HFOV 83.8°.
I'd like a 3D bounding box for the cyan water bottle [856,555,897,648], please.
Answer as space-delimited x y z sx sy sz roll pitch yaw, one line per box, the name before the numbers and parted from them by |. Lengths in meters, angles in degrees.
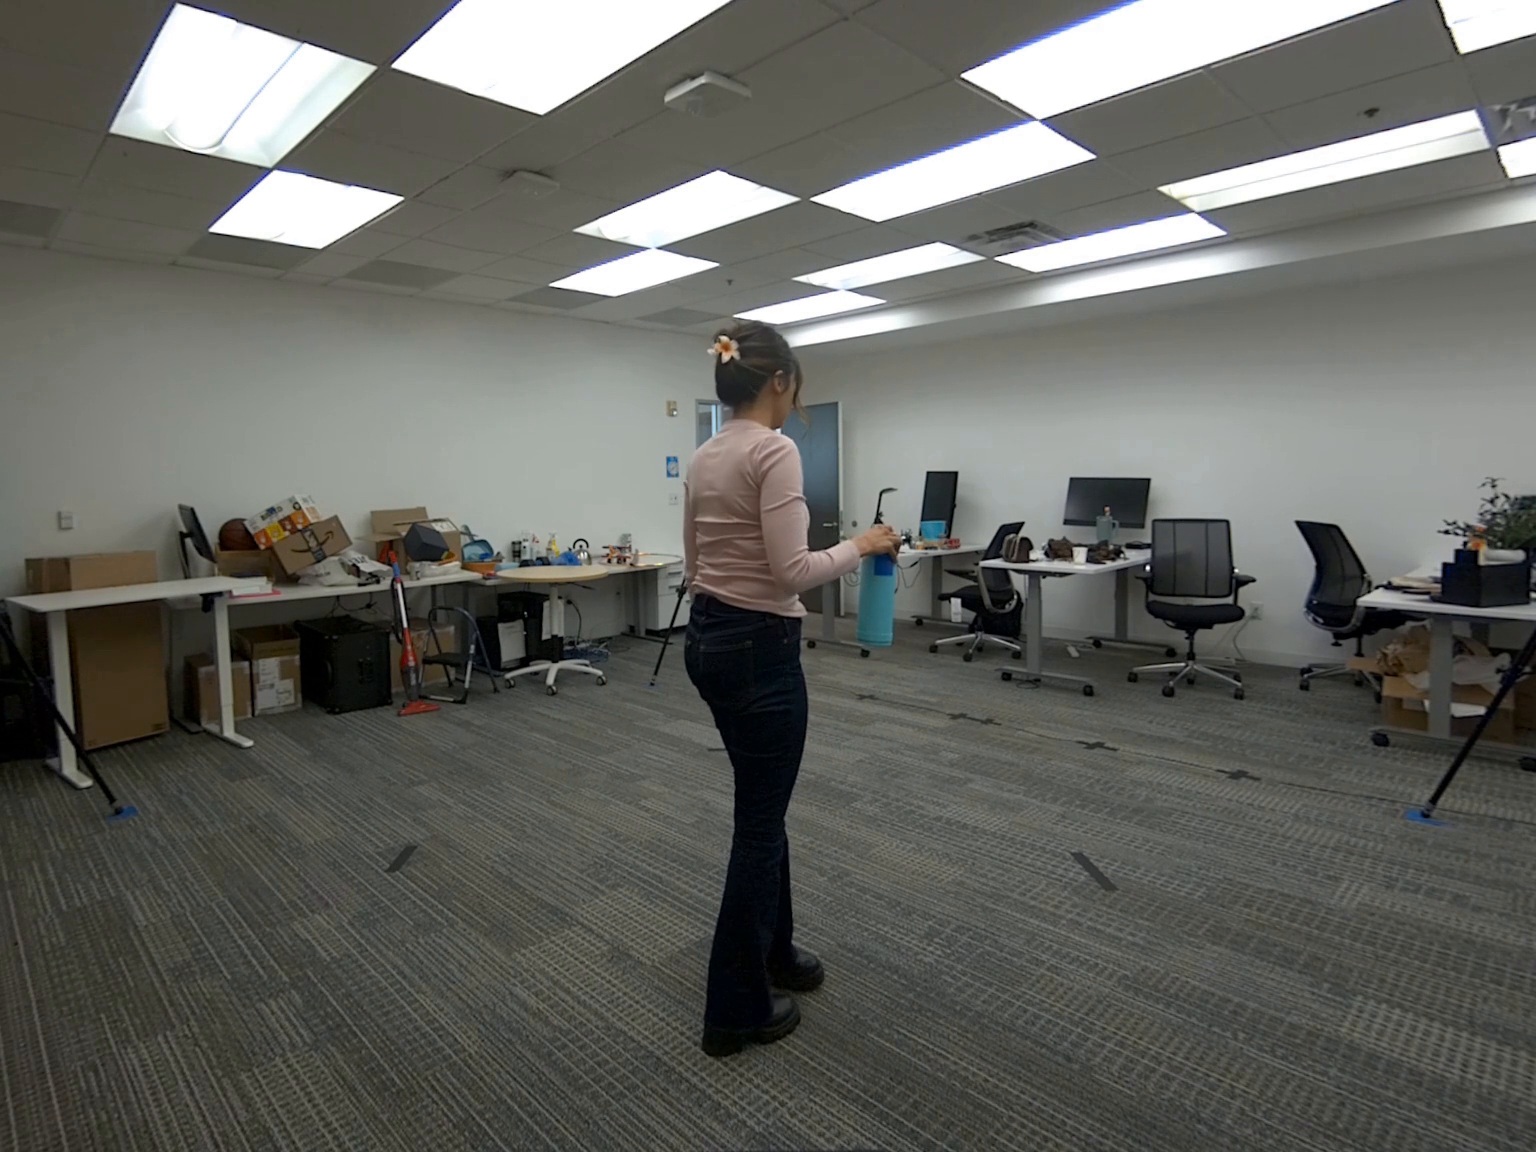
cyan water bottle | 0.283 0.027 2.163 0.092 0.283 0.092 5 -1 -2
